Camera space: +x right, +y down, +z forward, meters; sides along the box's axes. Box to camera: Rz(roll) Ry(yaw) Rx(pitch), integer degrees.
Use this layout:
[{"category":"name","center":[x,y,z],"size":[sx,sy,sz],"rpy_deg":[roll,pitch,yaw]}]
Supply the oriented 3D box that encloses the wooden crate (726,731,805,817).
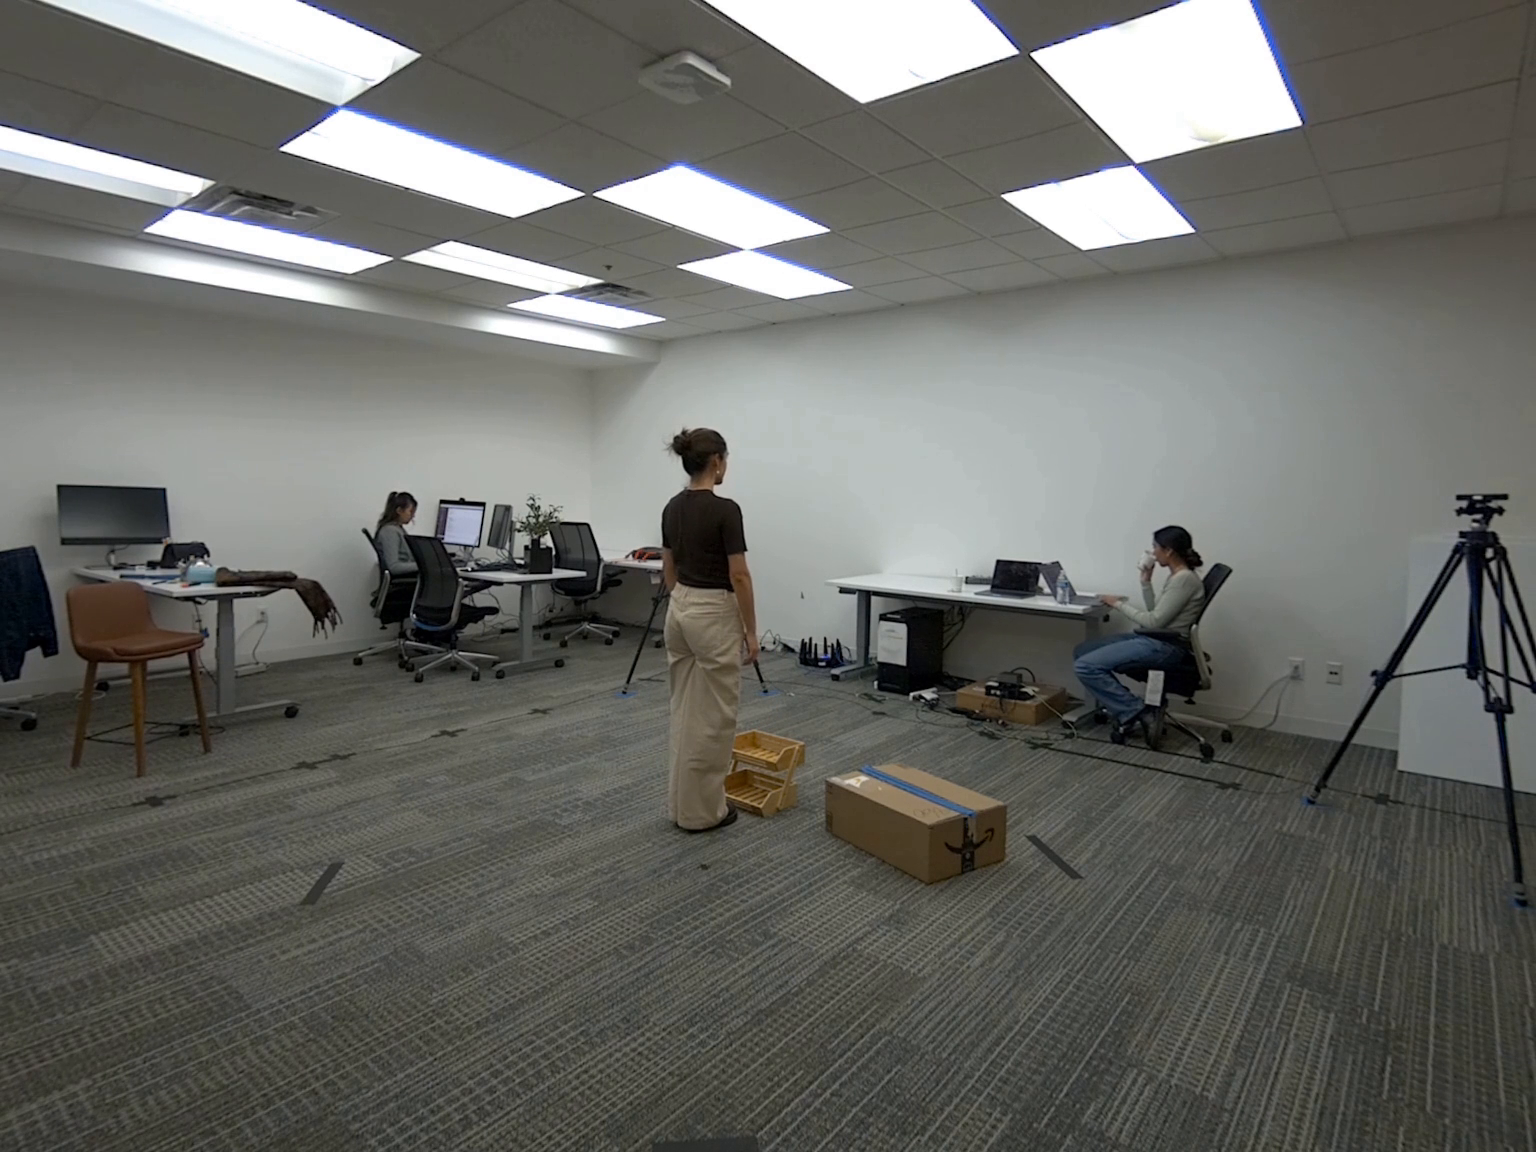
[{"category":"wooden crate","center":[-0.063,0.860,3.790],"size":[0.335,0.273,0.293],"rpy_deg":[4,4,41]}]
